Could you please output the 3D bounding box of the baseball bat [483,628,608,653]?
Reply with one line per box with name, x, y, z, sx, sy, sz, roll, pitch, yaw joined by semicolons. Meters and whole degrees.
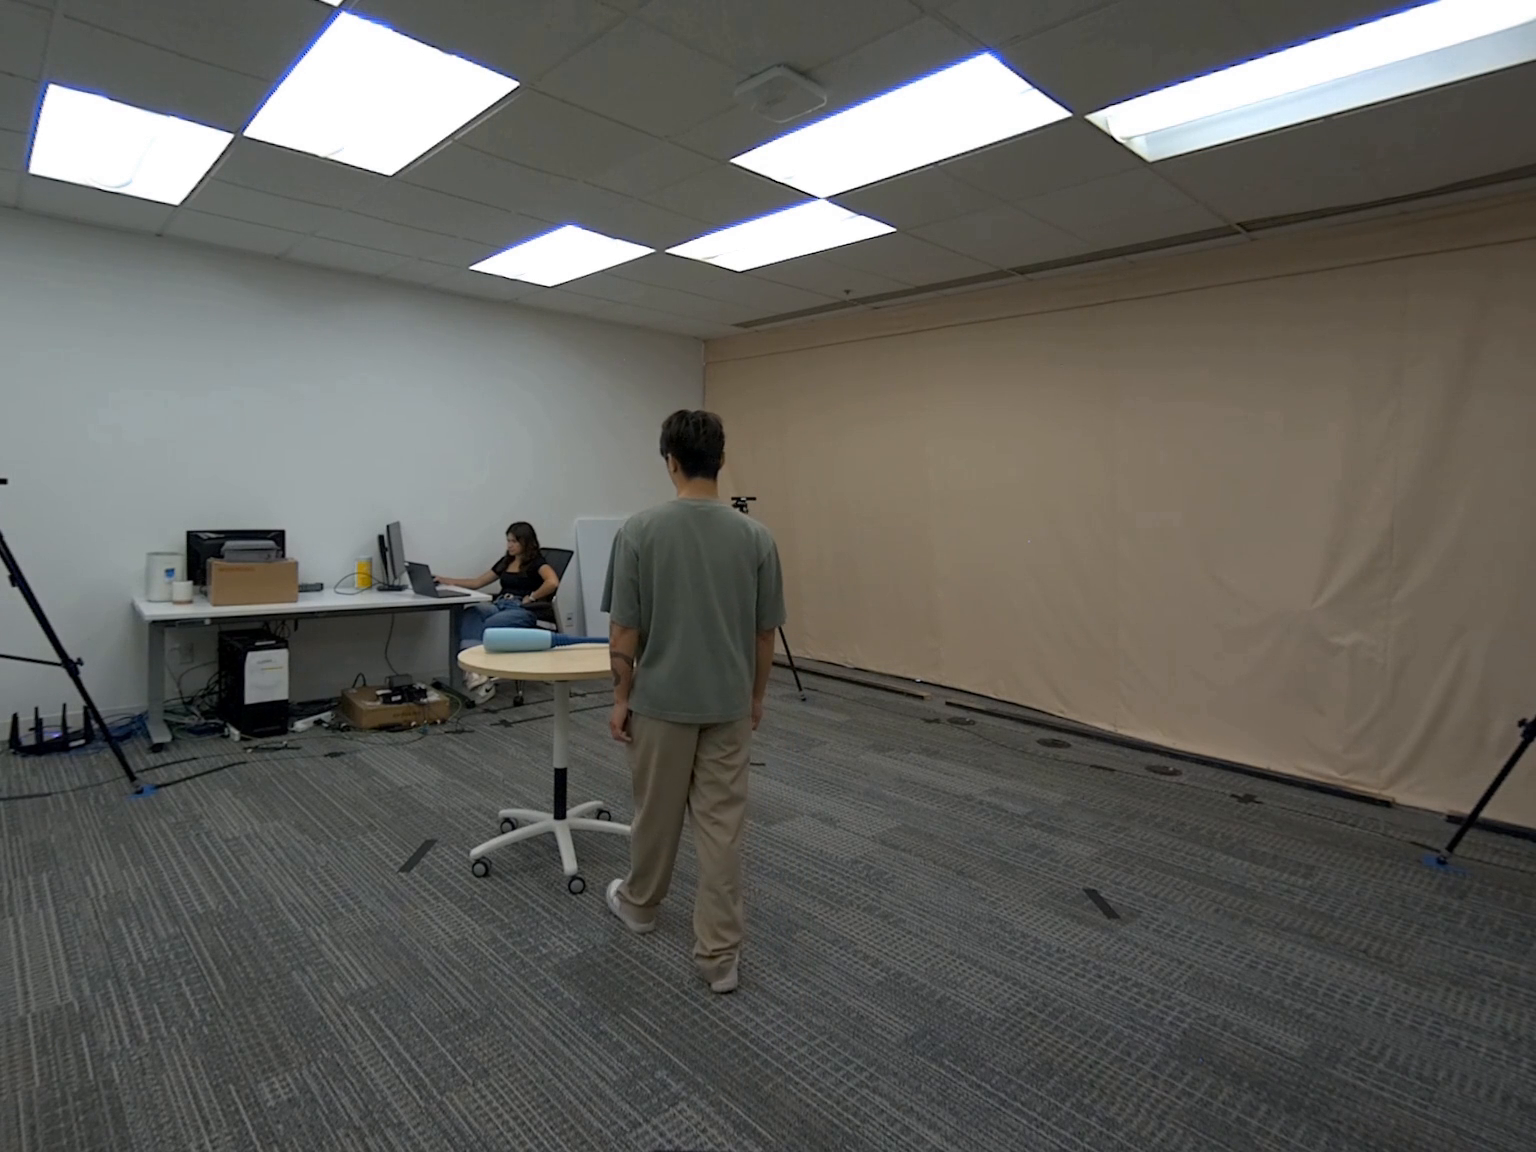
baseball bat;-0.840;0.256;3.296;0.533;0.089;0.091;3;3;-23
